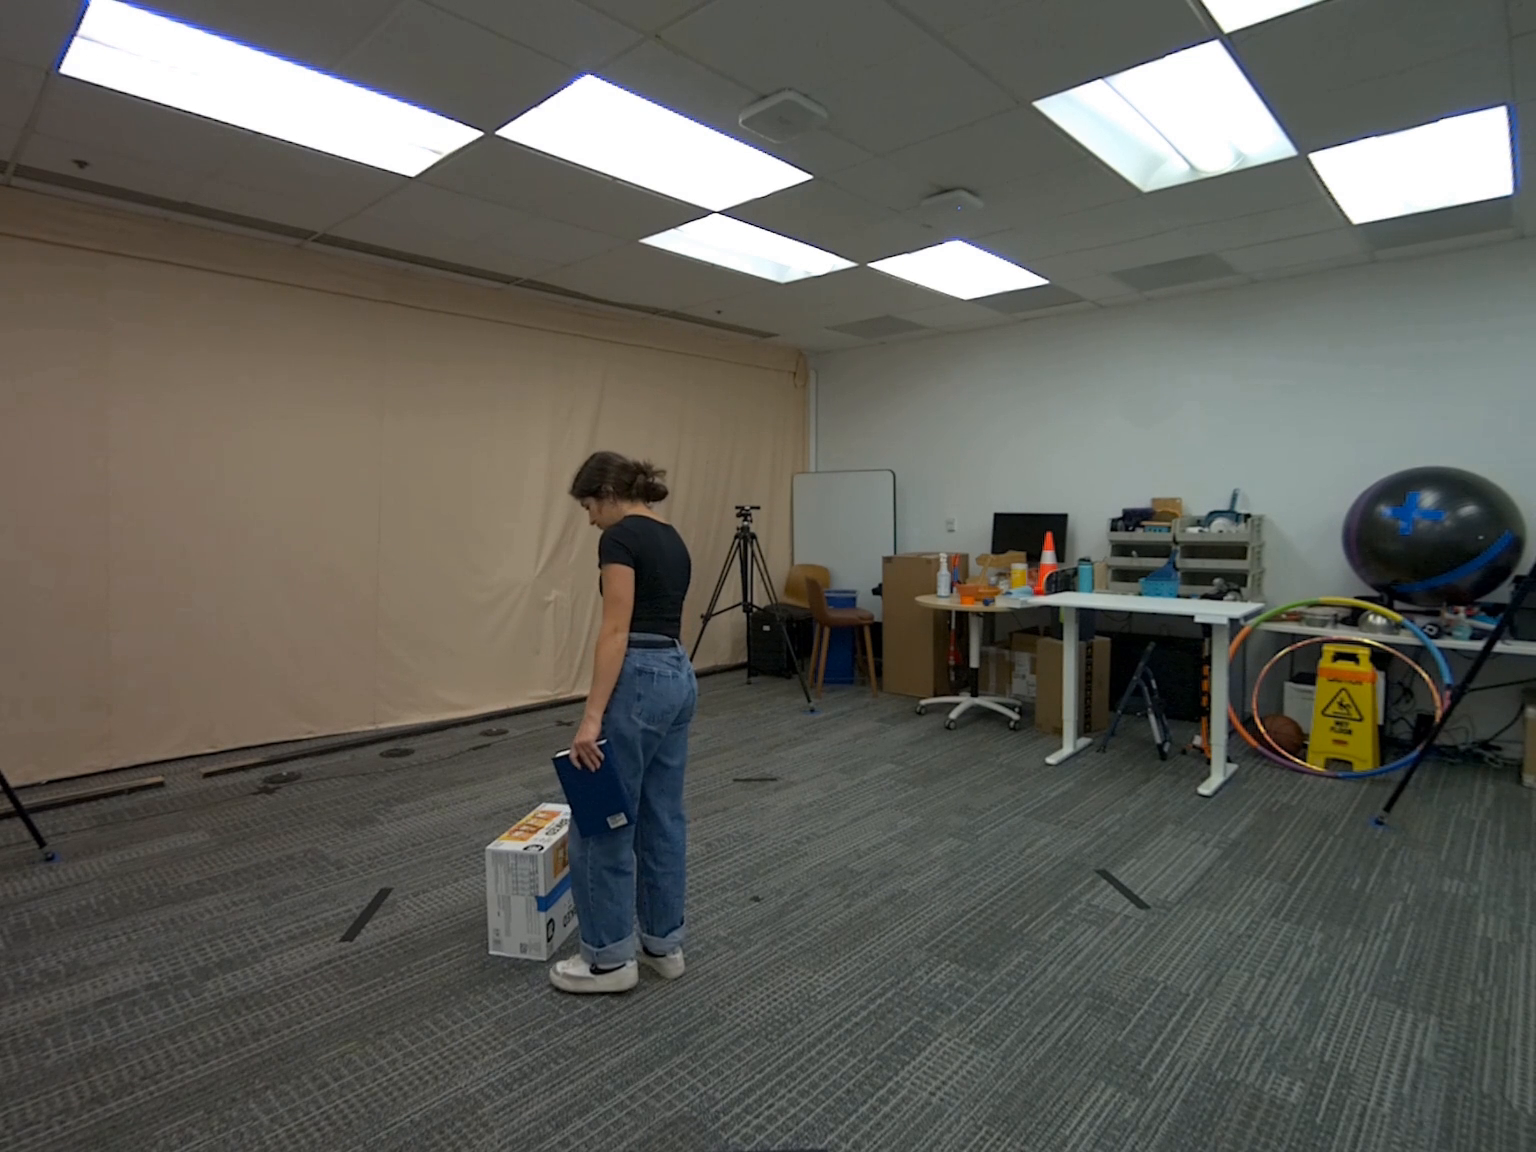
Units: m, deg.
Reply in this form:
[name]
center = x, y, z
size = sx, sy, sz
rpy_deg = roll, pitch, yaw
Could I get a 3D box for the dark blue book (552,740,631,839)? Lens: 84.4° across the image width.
[dark blue book]
center = -0.485, 0.583, 2.328
size = 0.165, 0.244, 0.045
rpy_deg = -12, 6, 12
